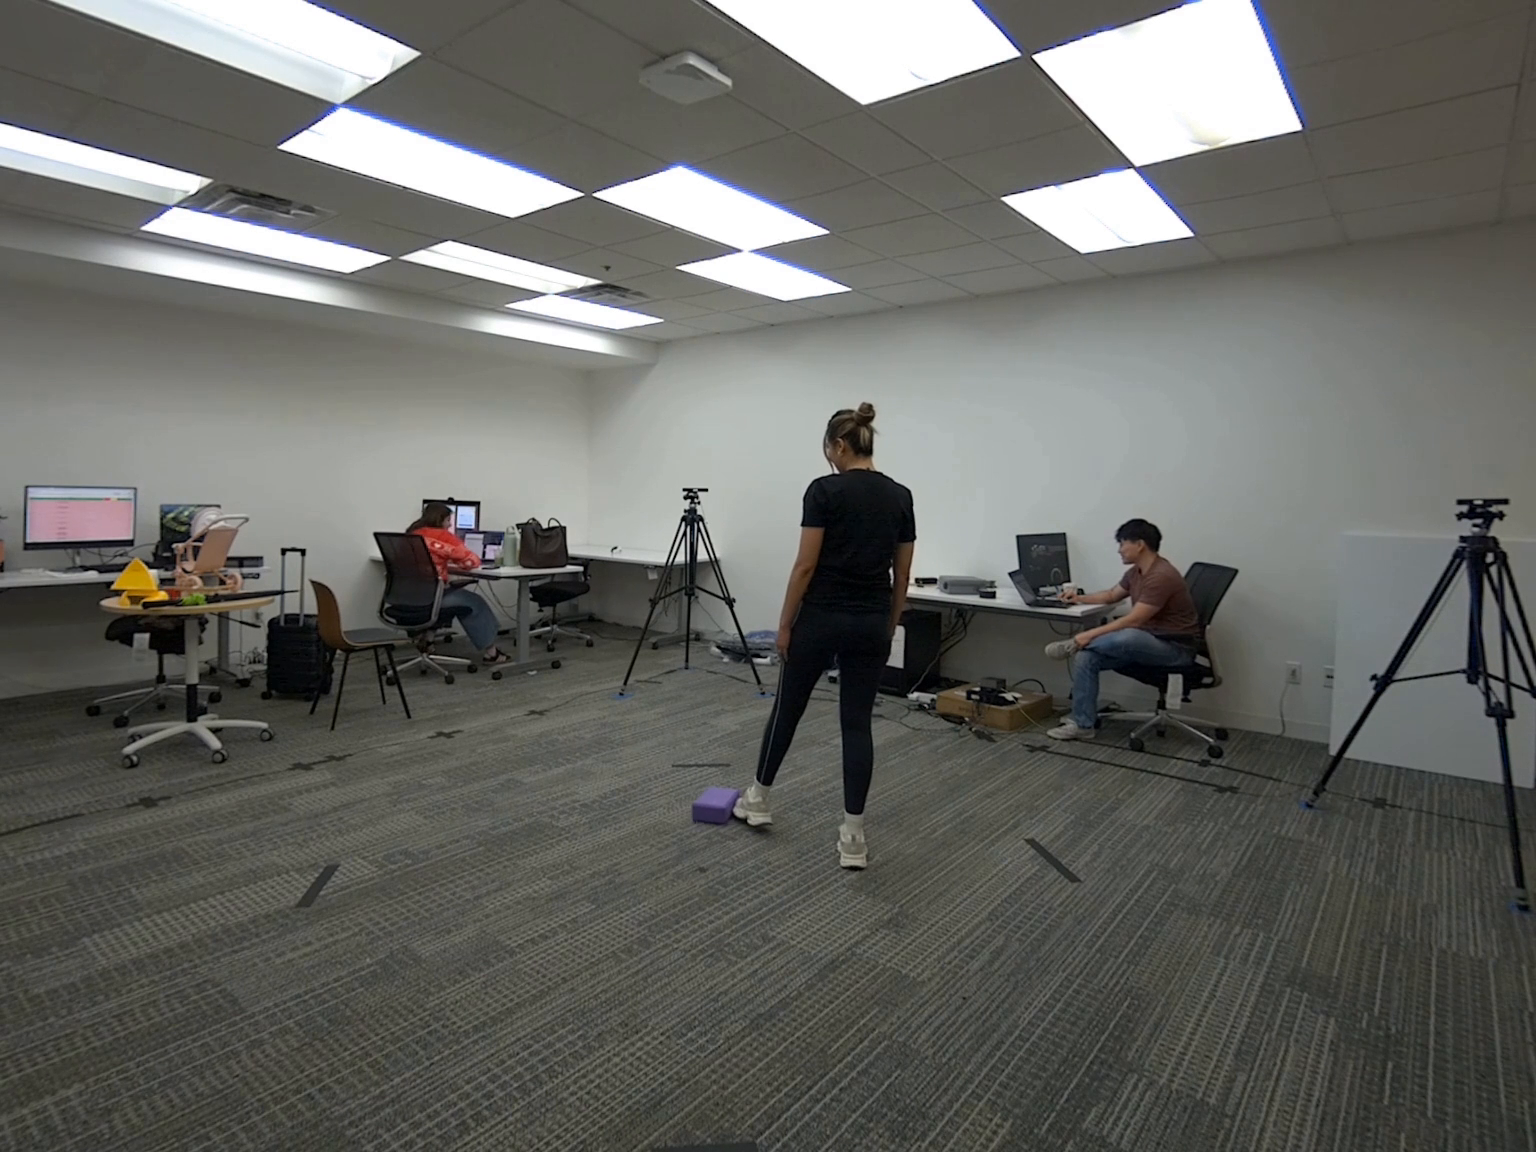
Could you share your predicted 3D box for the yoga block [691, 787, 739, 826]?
[{"bbox_3d":[-0.233,0.975,3.643,0.151,0.076,0.226,1,5,15],"label":"yoga block"}]
